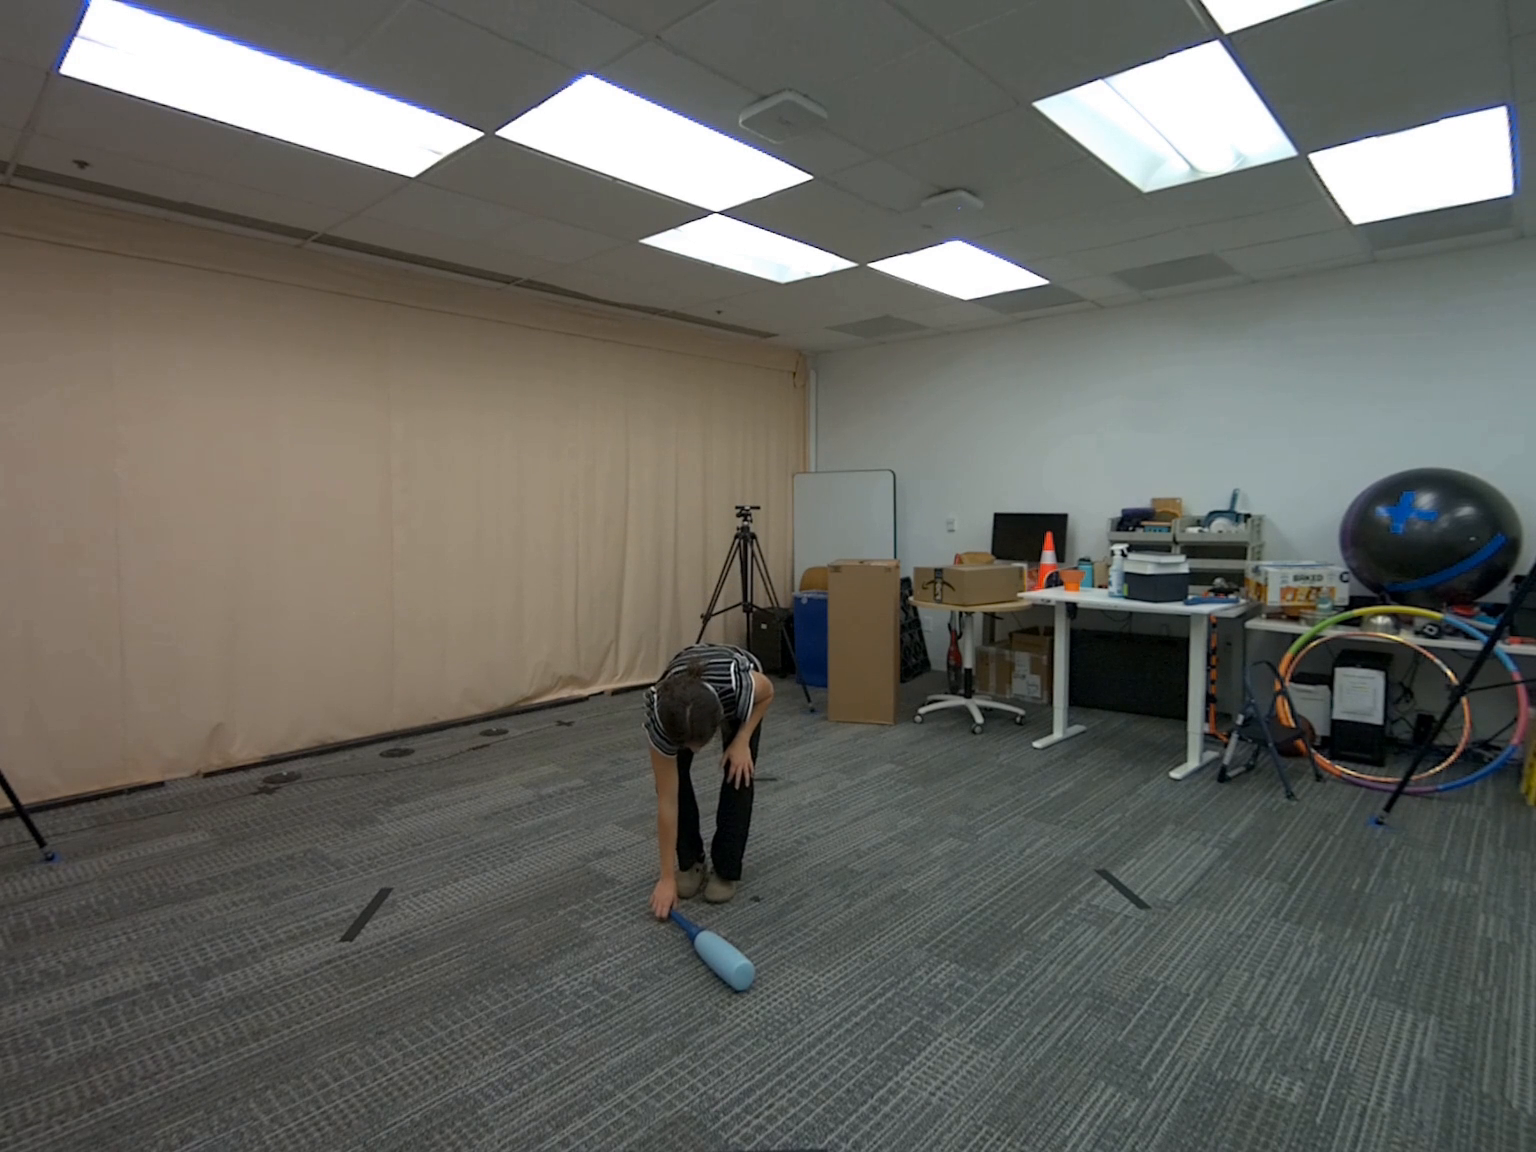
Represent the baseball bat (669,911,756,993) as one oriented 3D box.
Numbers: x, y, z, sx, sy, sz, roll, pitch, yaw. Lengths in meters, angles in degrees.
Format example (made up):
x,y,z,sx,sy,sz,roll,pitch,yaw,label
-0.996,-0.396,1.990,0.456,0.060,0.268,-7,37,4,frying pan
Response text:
x,y,z,sx,sy,sz,roll,pitch,yaw,label
-0.212,1.136,2.636,0.087,0.089,0.558,-2,1,-30,baseball bat
